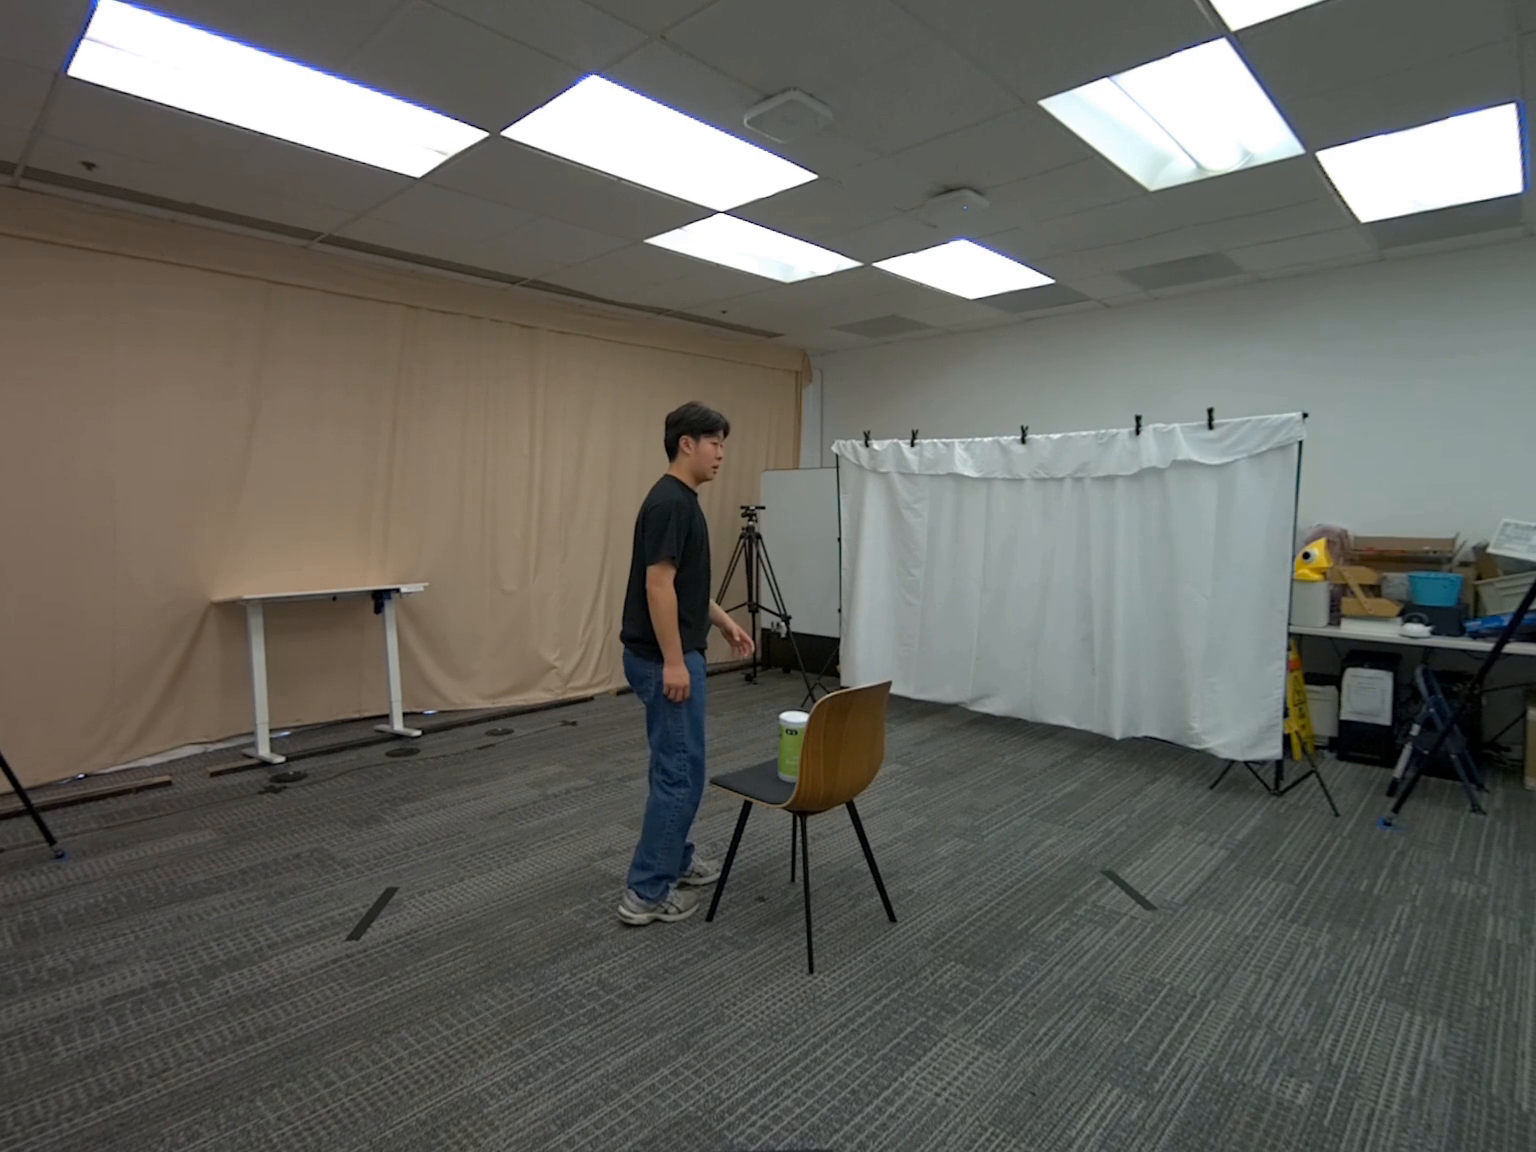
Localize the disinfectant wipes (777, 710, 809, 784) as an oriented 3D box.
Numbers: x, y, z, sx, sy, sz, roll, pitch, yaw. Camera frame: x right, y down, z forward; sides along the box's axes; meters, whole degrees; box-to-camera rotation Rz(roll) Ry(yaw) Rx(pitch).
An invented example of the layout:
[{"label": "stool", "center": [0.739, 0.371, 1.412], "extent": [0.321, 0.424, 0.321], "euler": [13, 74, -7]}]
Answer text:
[{"label": "disinfectant wipes", "center": [0.089, 0.574, 2.824], "extent": [0.117, 0.216, 0.118], "euler": [1, 6, -2]}]
